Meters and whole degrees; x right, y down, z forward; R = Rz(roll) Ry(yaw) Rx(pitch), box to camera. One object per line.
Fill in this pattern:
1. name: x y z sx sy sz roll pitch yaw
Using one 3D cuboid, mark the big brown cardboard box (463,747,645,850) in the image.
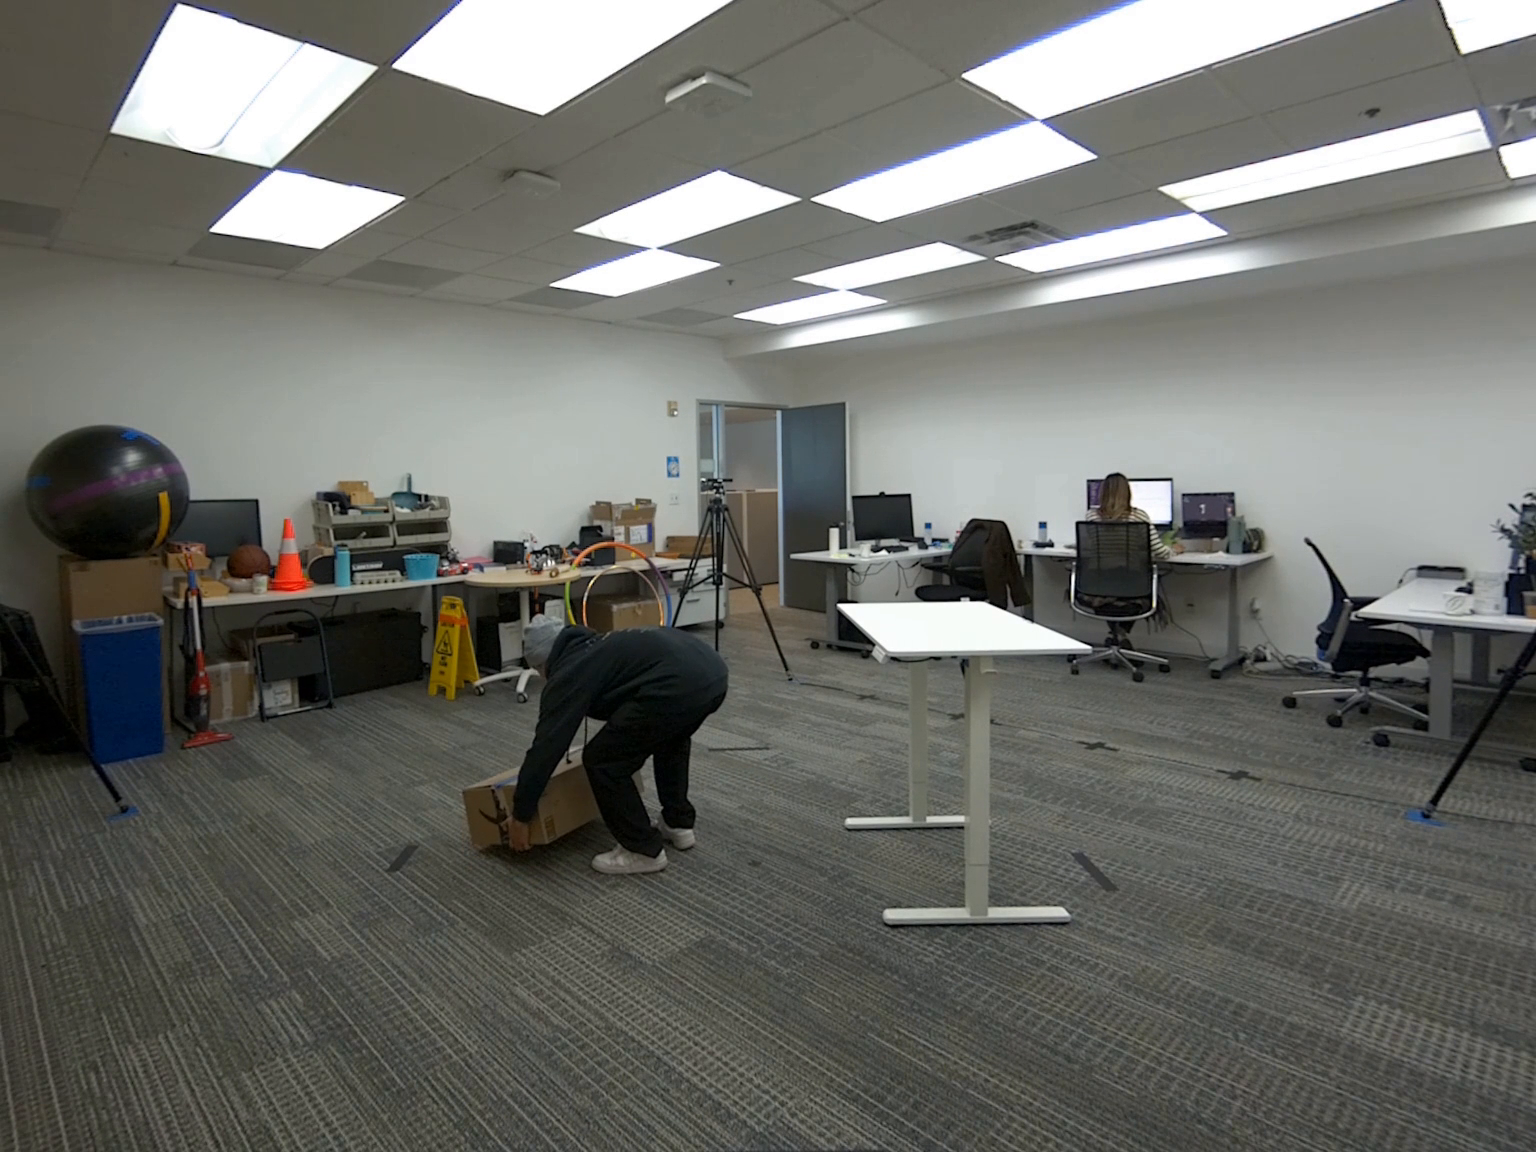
1. big brown cardboard box: -0.839 0.846 3.386 0.426 0.233 0.577 -13 1 32
